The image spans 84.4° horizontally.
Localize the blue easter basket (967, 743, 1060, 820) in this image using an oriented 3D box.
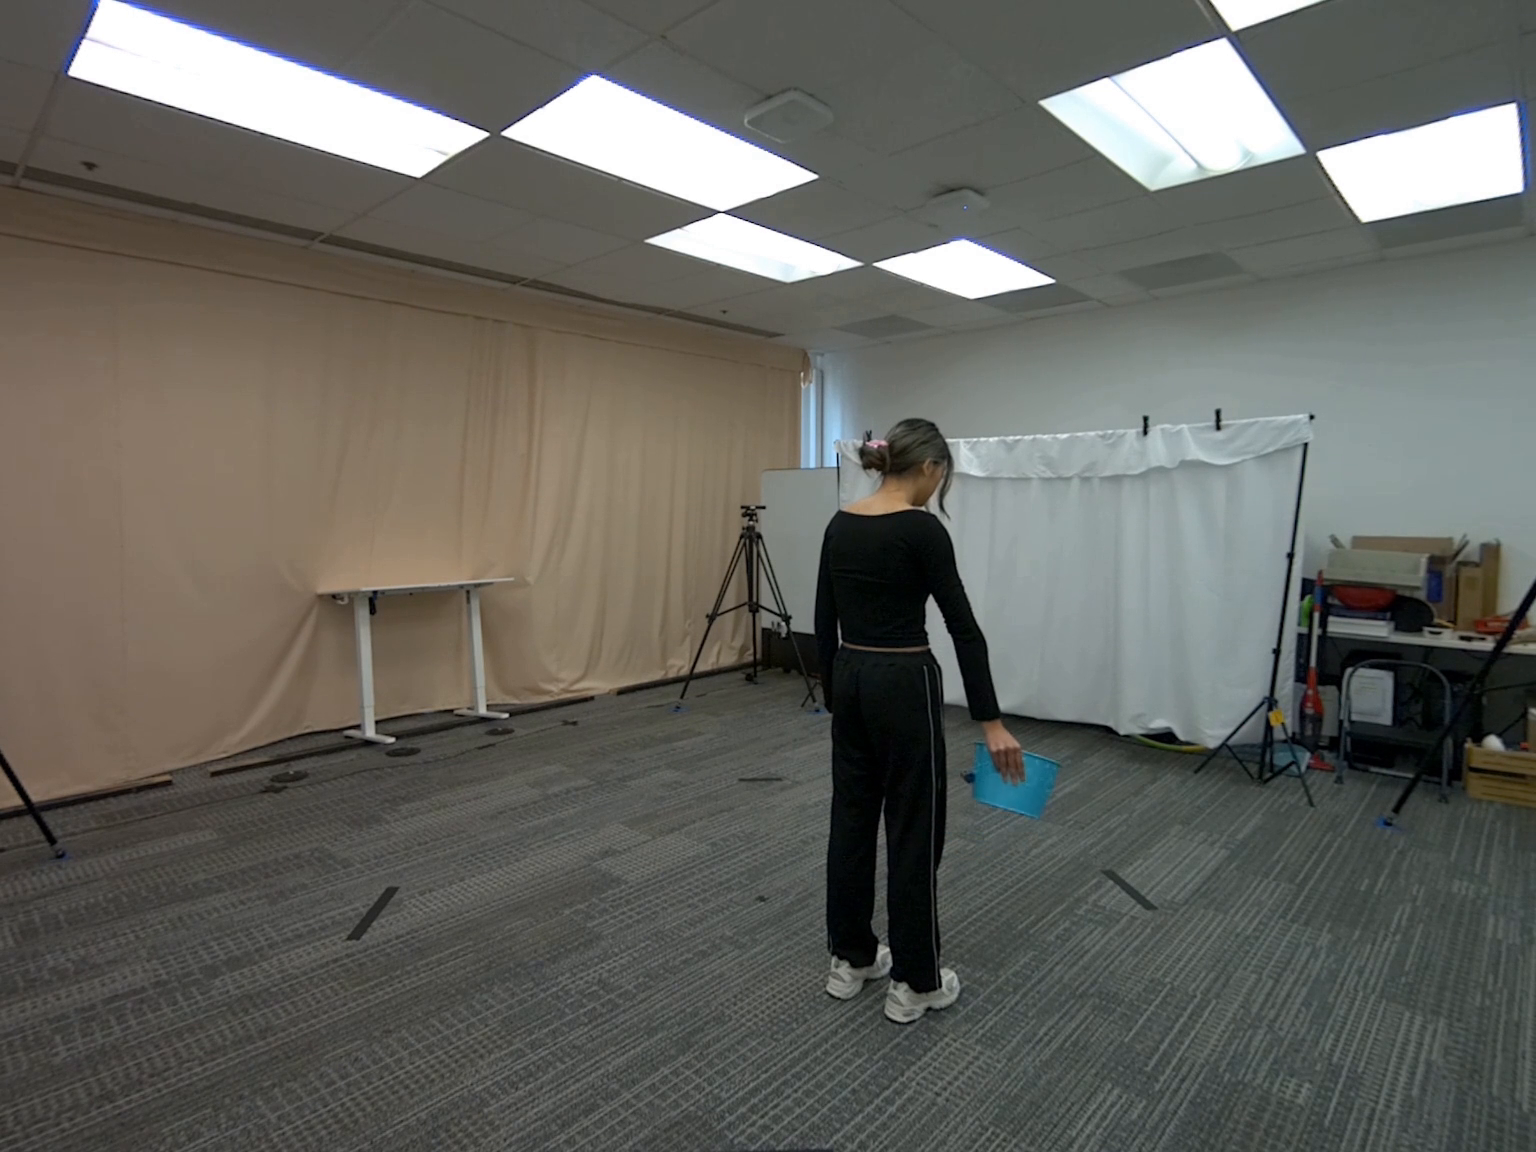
[{"bbox_3d":[0.664,0.549,2.263,0.244,0.156,0.242,17,-11,2],"label":"blue easter basket"}]
